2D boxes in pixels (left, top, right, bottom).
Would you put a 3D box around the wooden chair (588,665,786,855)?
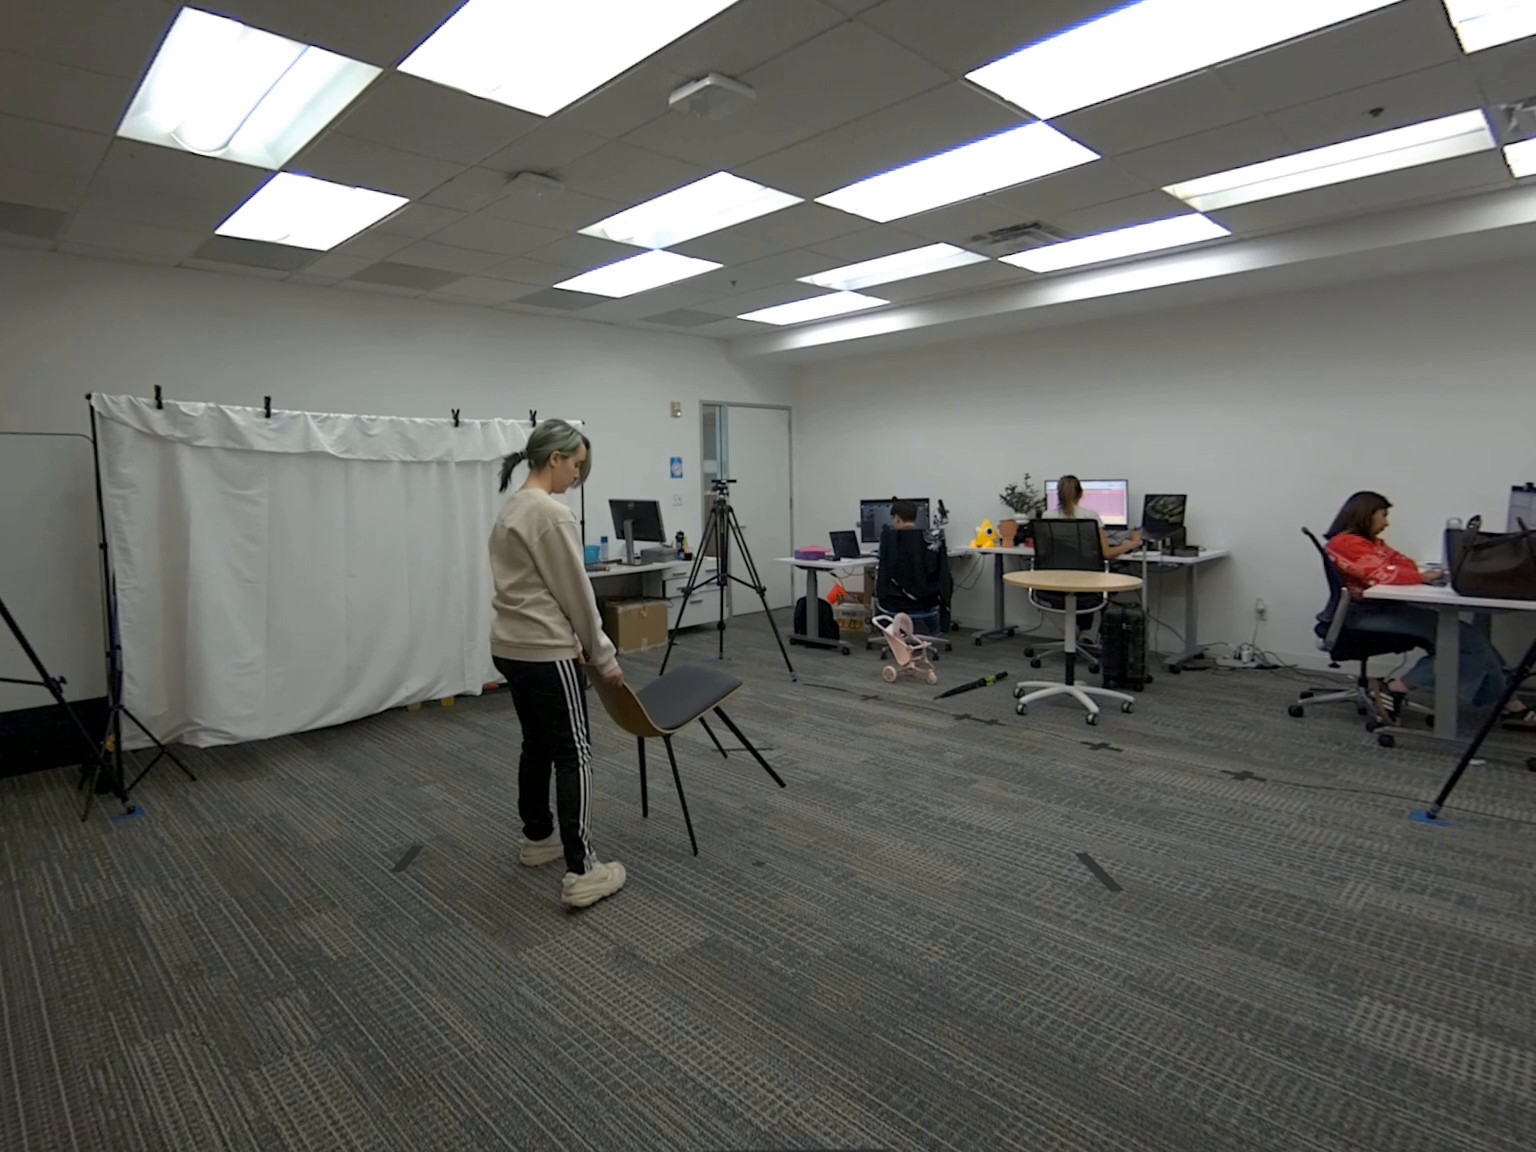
[{"bbox_3d":[-0.364,0.538,3.363,0.519,0.859,0.491,-35,20,-27],"label":"wooden chair"}]
